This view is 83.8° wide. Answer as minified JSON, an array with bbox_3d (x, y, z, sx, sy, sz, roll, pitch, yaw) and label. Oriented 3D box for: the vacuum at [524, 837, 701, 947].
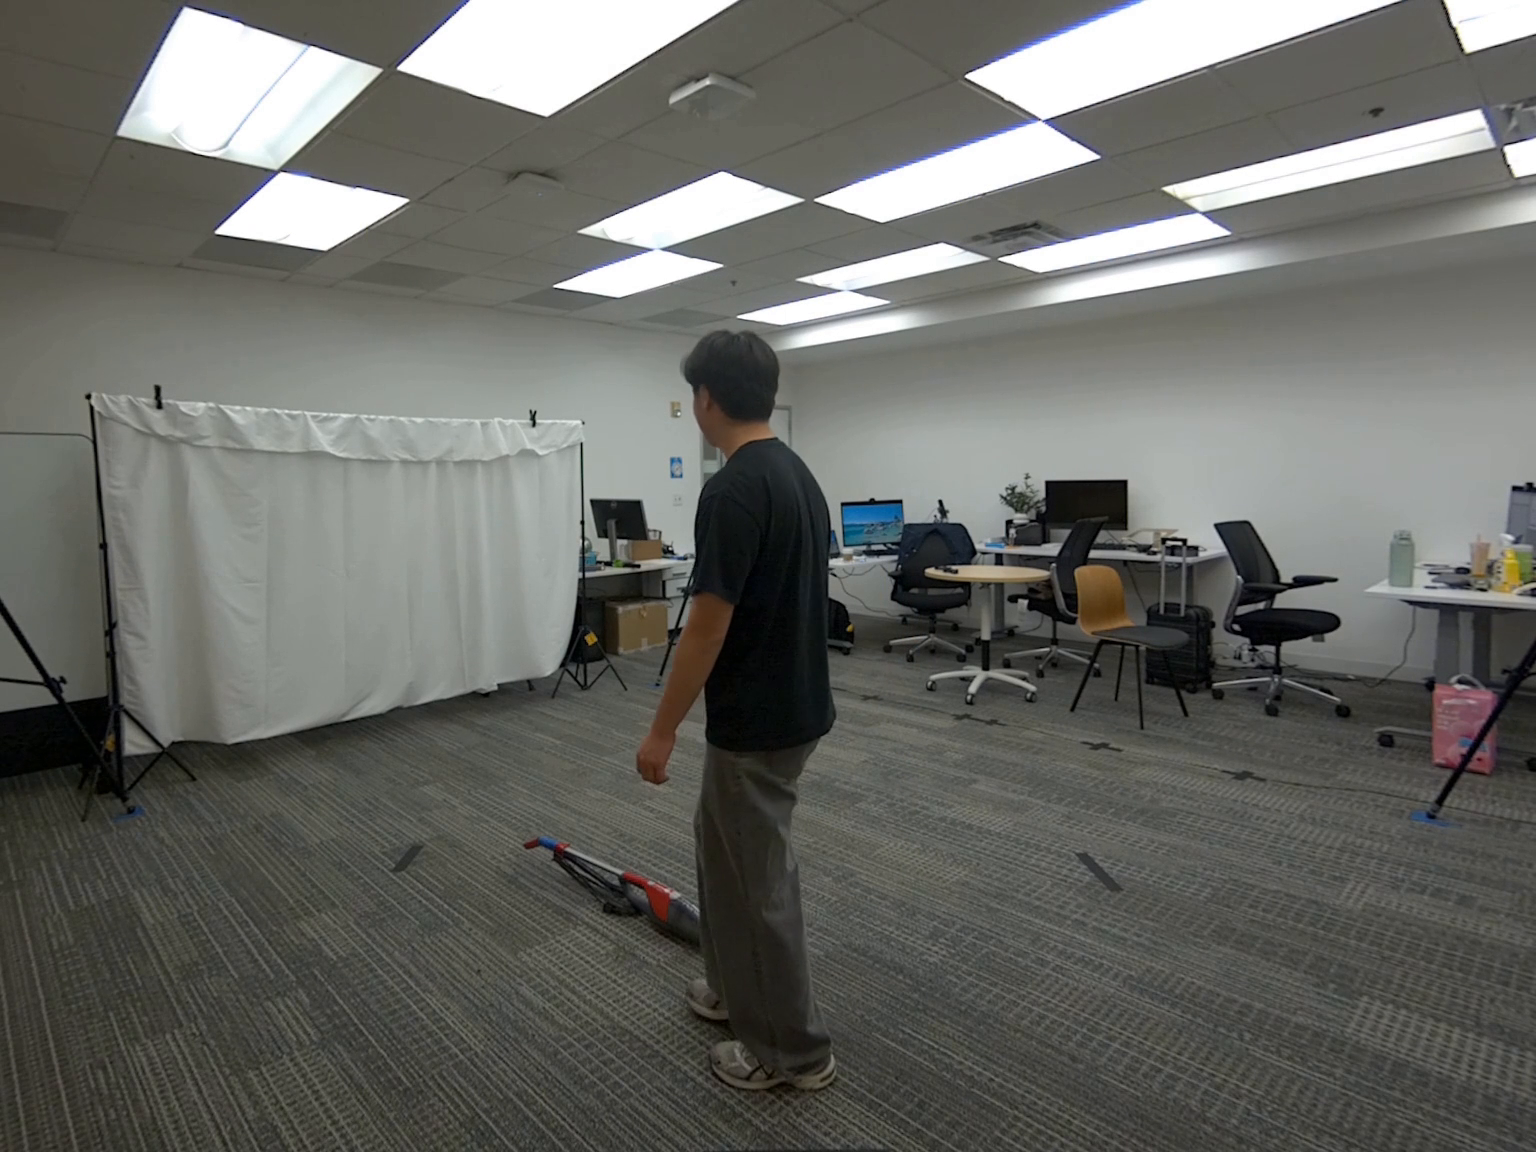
[{"bbox_3d":[-0.472,1.035,2.805,1.081,0.143,0.246,4,7,40],"label":"vacuum"}]
